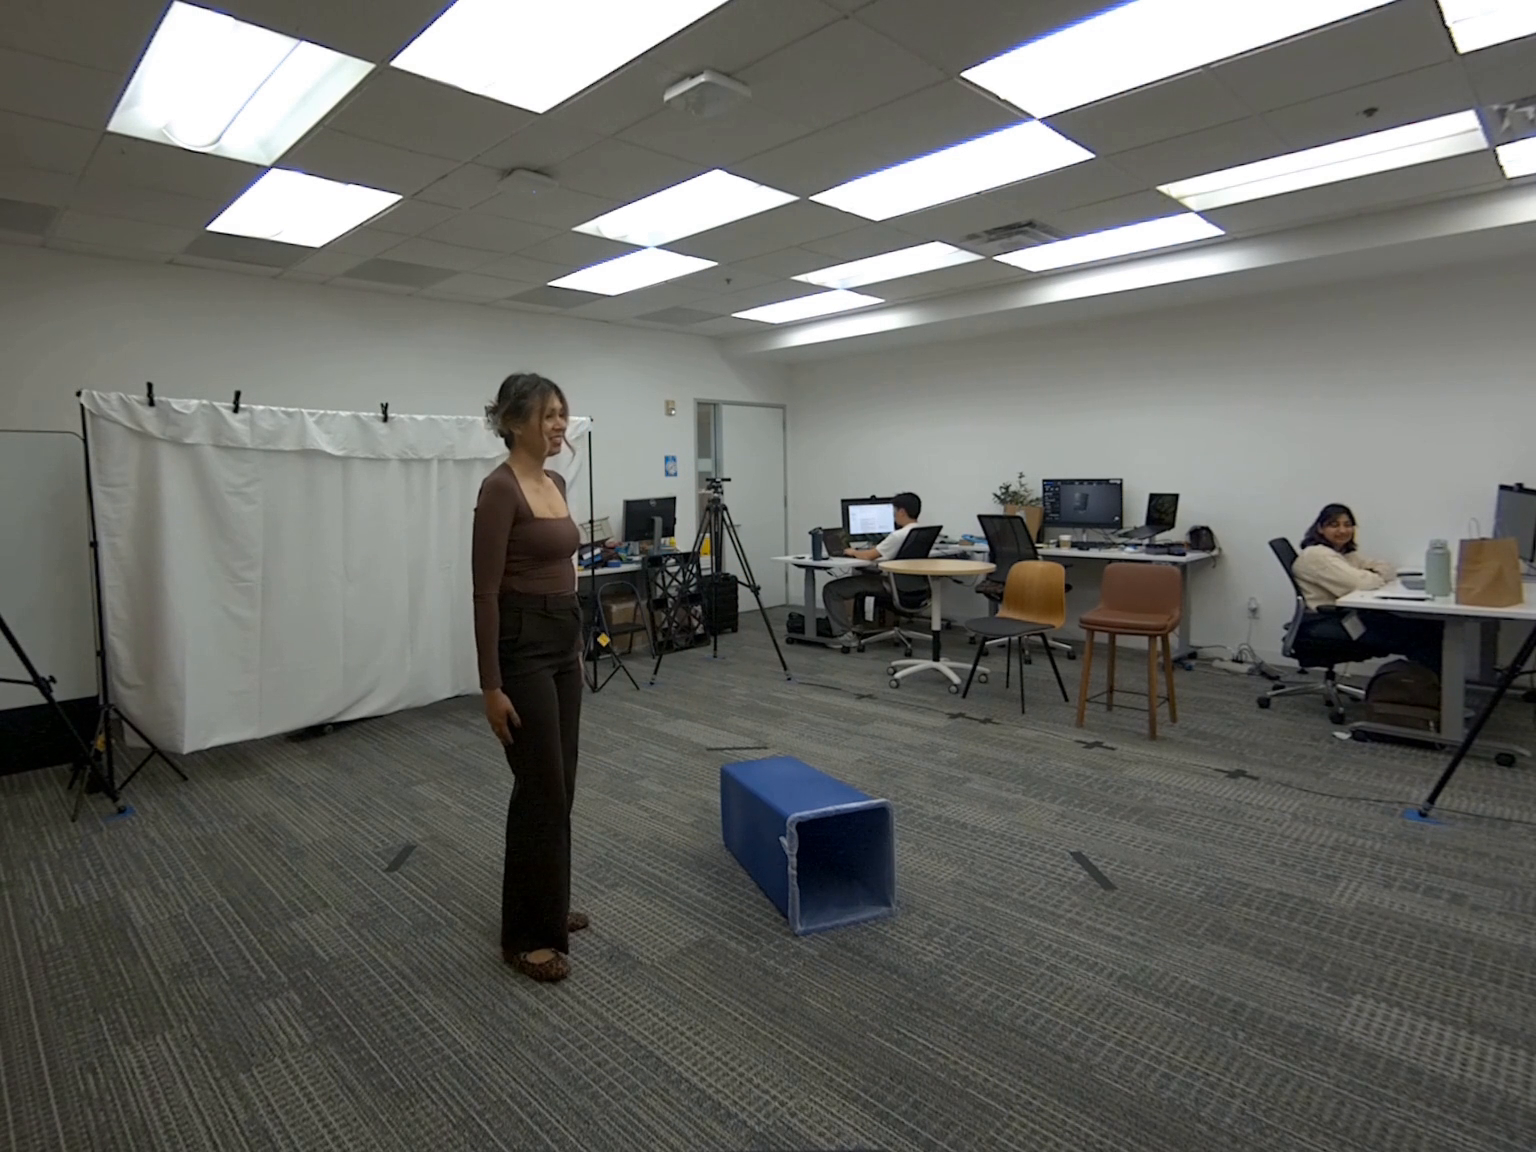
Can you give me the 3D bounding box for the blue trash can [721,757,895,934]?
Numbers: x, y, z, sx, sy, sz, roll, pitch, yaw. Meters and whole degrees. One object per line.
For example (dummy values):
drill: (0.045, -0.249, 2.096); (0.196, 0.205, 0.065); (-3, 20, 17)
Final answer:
blue trash can: (0.105, 0.879, 2.991); (0.367, 0.377, 0.729); (-4, 5, -21)
